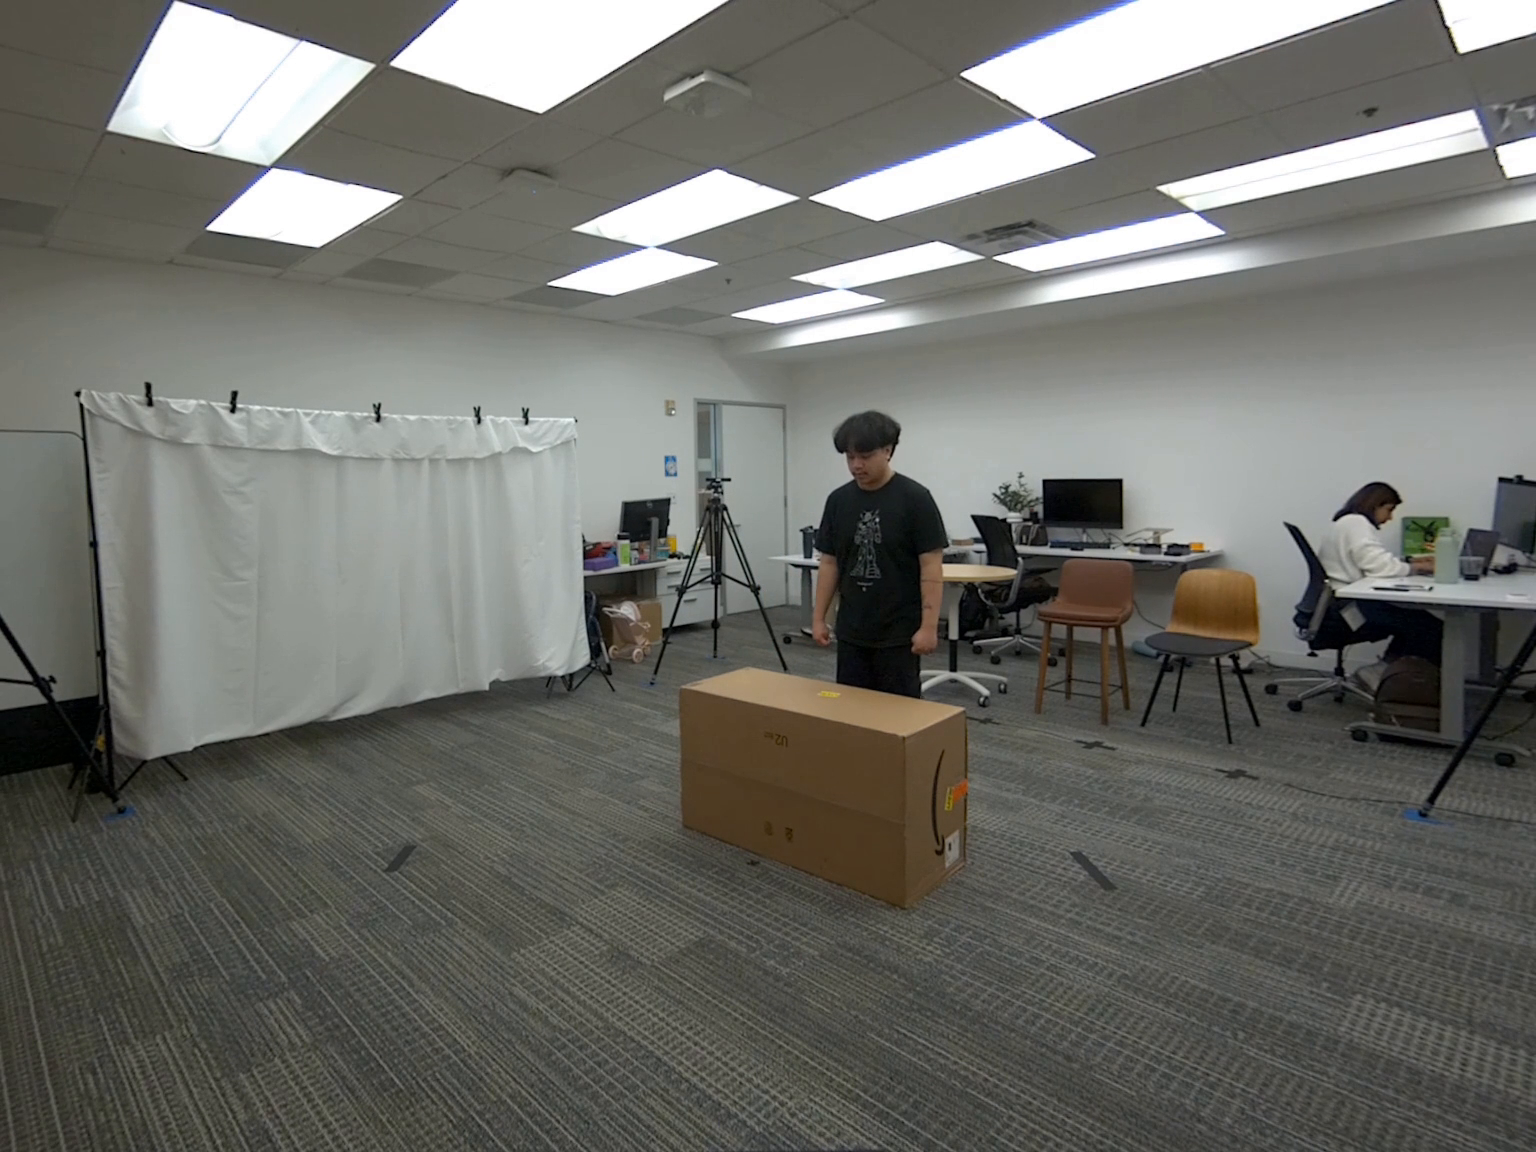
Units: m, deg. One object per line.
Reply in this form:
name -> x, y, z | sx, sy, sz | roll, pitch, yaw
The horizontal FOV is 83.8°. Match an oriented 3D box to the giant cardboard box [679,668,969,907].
giant cardboard box -> 0.178, 0.740, 3.224 | 1.059, 0.582, 0.435 | 5, 6, 41
